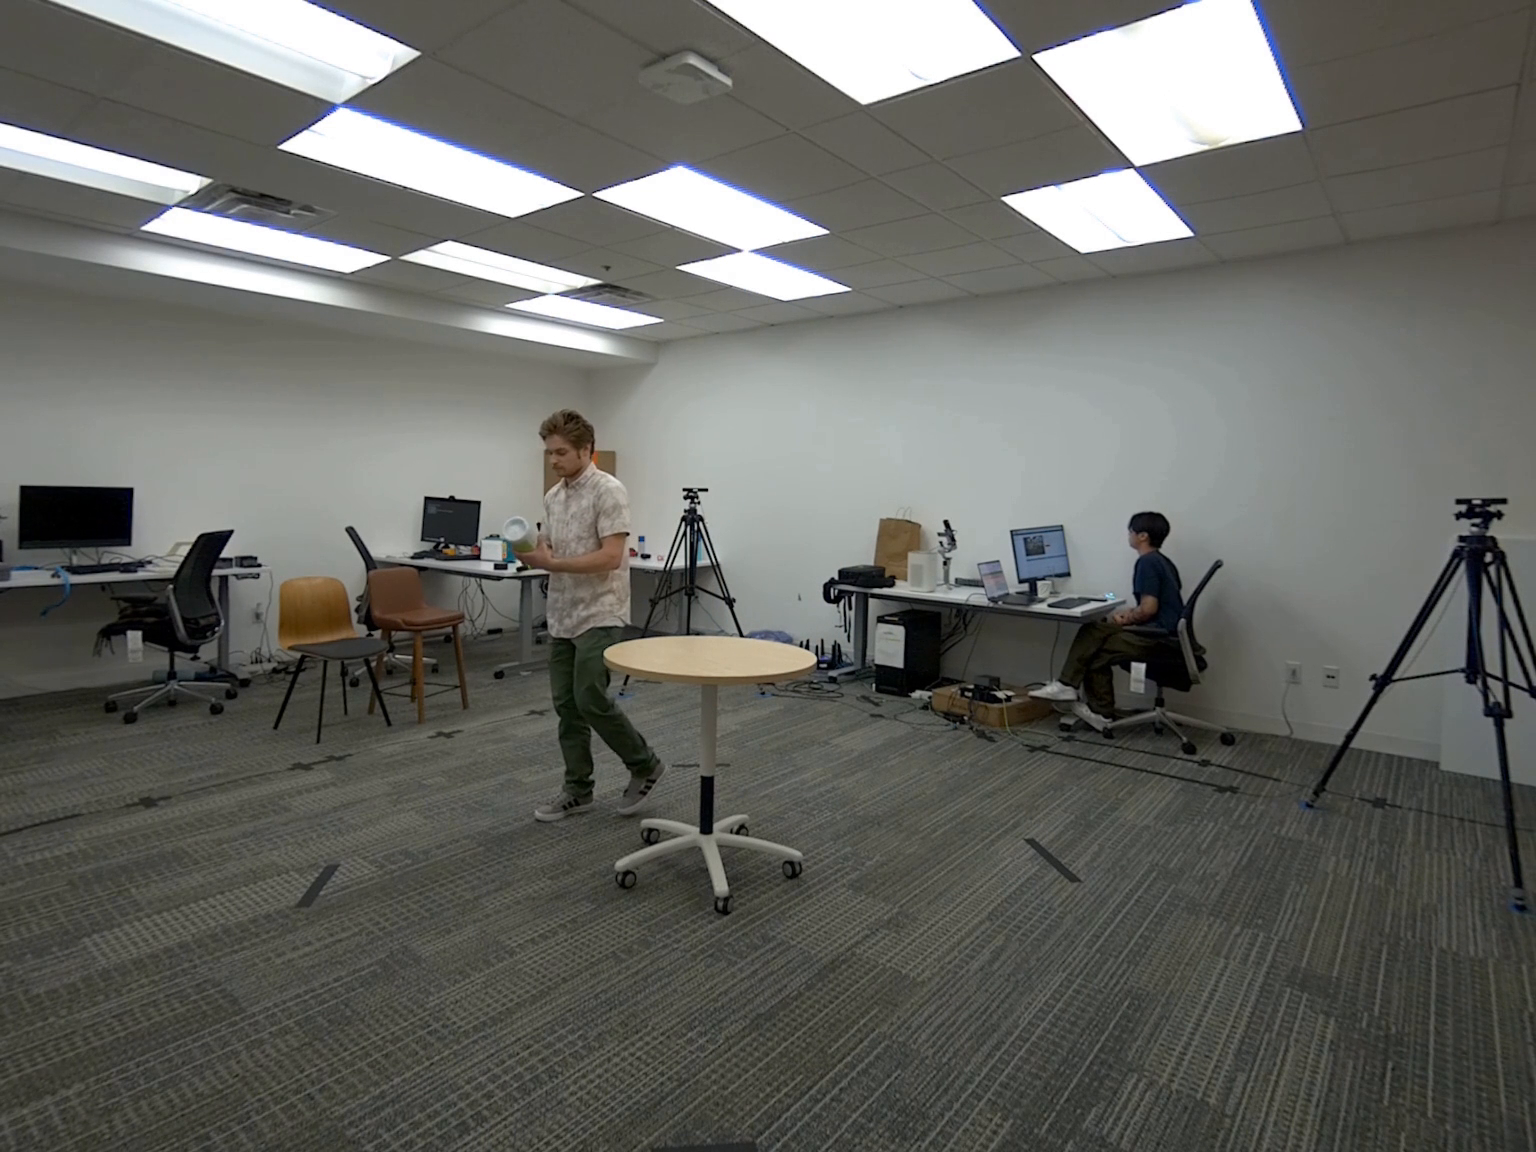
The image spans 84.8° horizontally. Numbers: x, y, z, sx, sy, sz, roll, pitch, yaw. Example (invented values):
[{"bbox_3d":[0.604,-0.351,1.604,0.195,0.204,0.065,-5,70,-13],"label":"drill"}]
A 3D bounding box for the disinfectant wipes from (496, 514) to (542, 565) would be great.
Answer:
[{"bbox_3d":[-0.974,-0.146,3.368,0.119,0.120,0.210,2,-24,12],"label":"disinfectant wipes"}]
